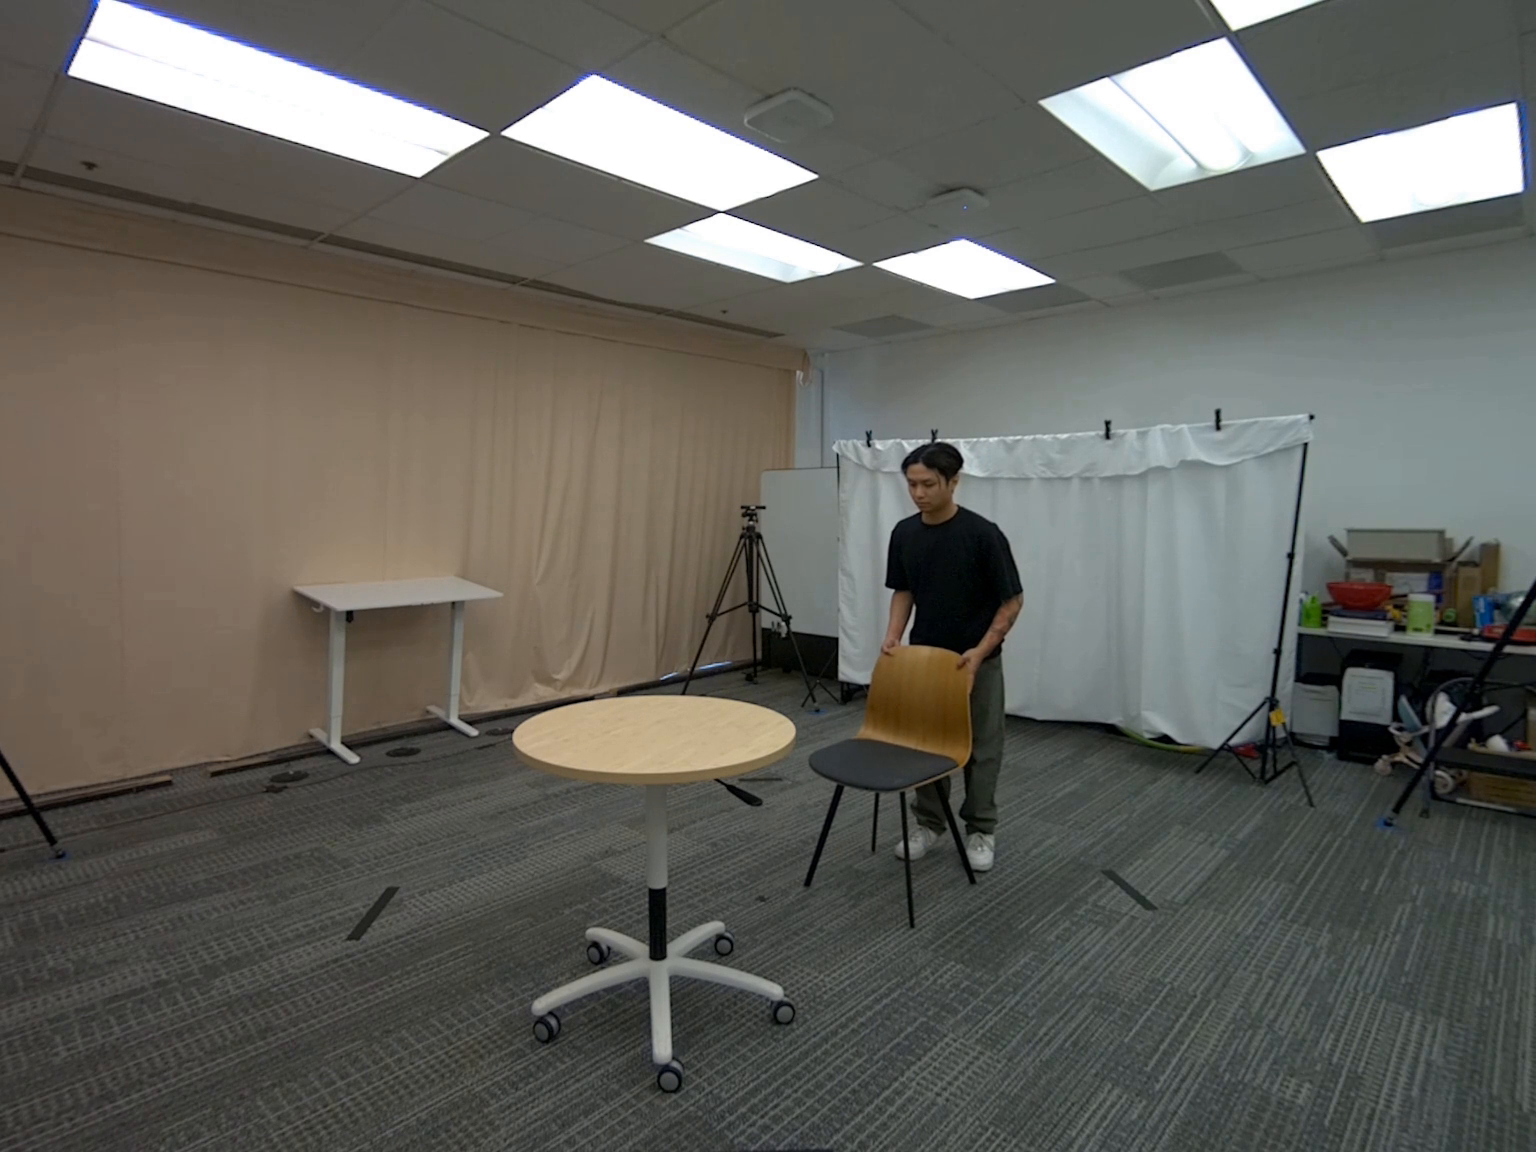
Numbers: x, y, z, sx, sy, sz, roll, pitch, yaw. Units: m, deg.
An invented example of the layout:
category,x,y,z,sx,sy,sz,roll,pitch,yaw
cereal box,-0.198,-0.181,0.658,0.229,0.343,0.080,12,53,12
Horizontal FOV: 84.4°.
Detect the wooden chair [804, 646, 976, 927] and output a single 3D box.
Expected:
category,x,y,z,sx,sy,sz,roll,pitch,yaw
wooden chair,0.443,0.707,3.047,0.494,0.877,0.506,3,0,42
